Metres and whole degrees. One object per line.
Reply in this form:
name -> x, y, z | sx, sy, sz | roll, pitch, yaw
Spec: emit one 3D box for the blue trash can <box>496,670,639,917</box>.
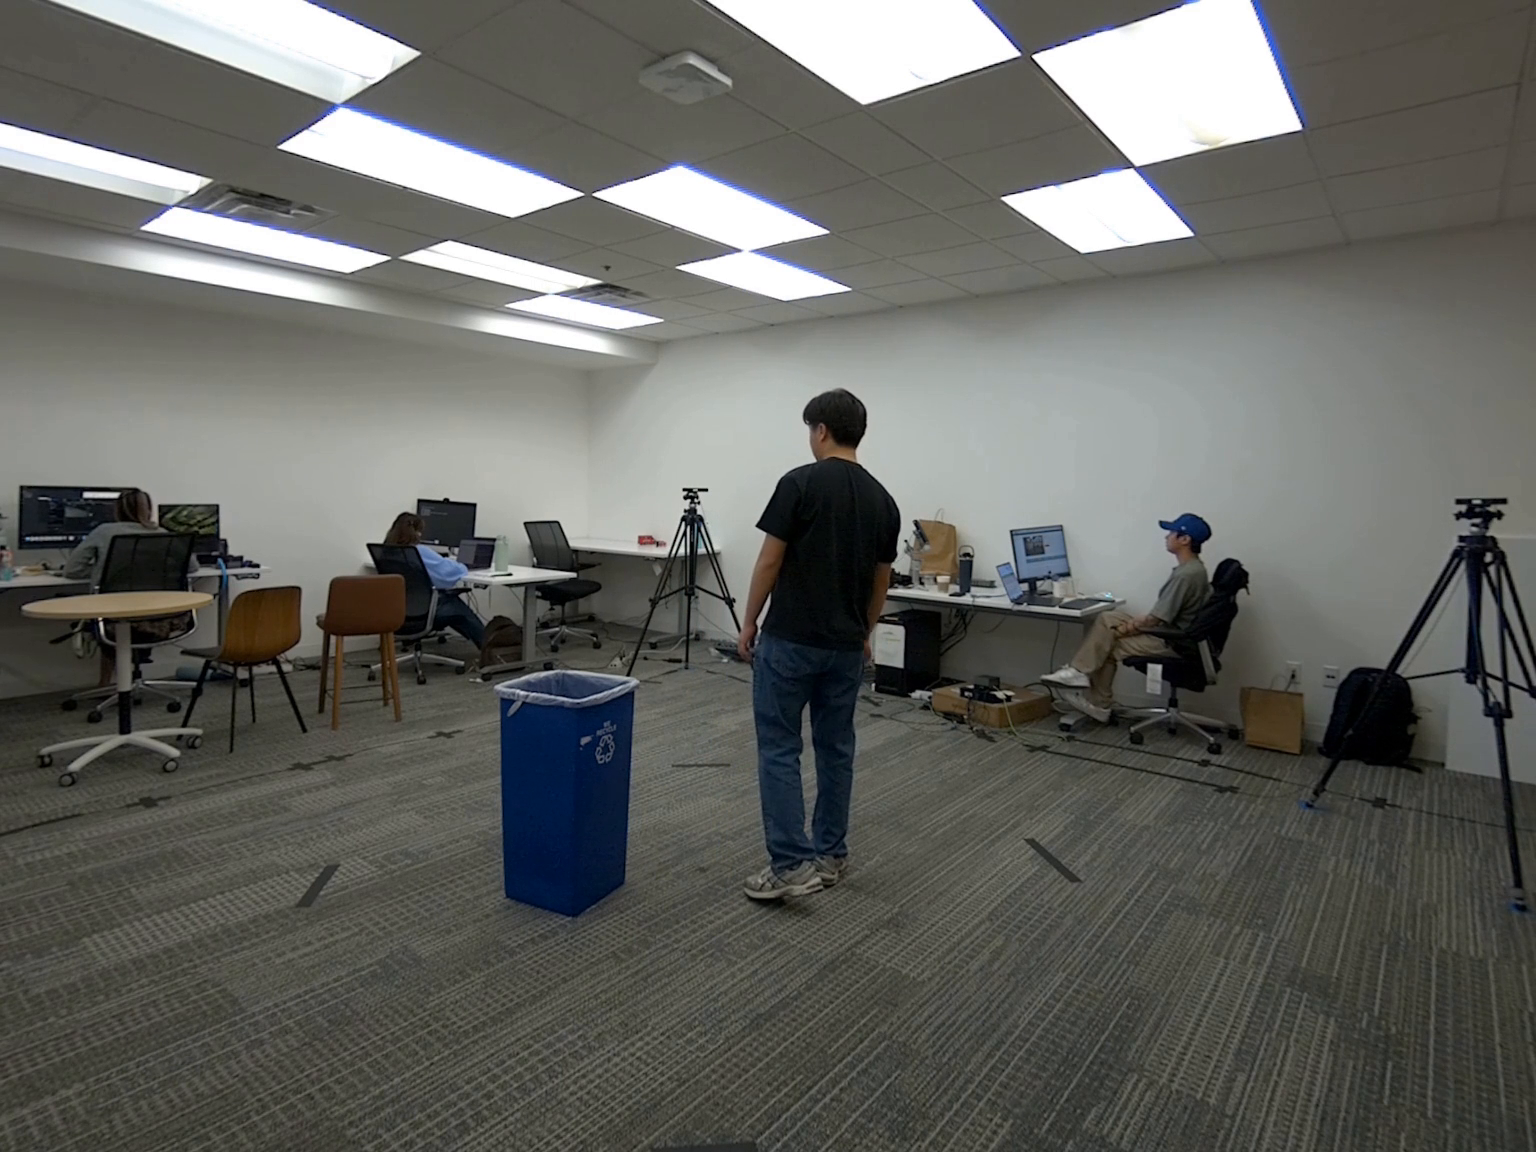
blue trash can -> -0.702, 0.720, 2.928 | 0.388, 0.711, 0.366 | 2, 4, 25
